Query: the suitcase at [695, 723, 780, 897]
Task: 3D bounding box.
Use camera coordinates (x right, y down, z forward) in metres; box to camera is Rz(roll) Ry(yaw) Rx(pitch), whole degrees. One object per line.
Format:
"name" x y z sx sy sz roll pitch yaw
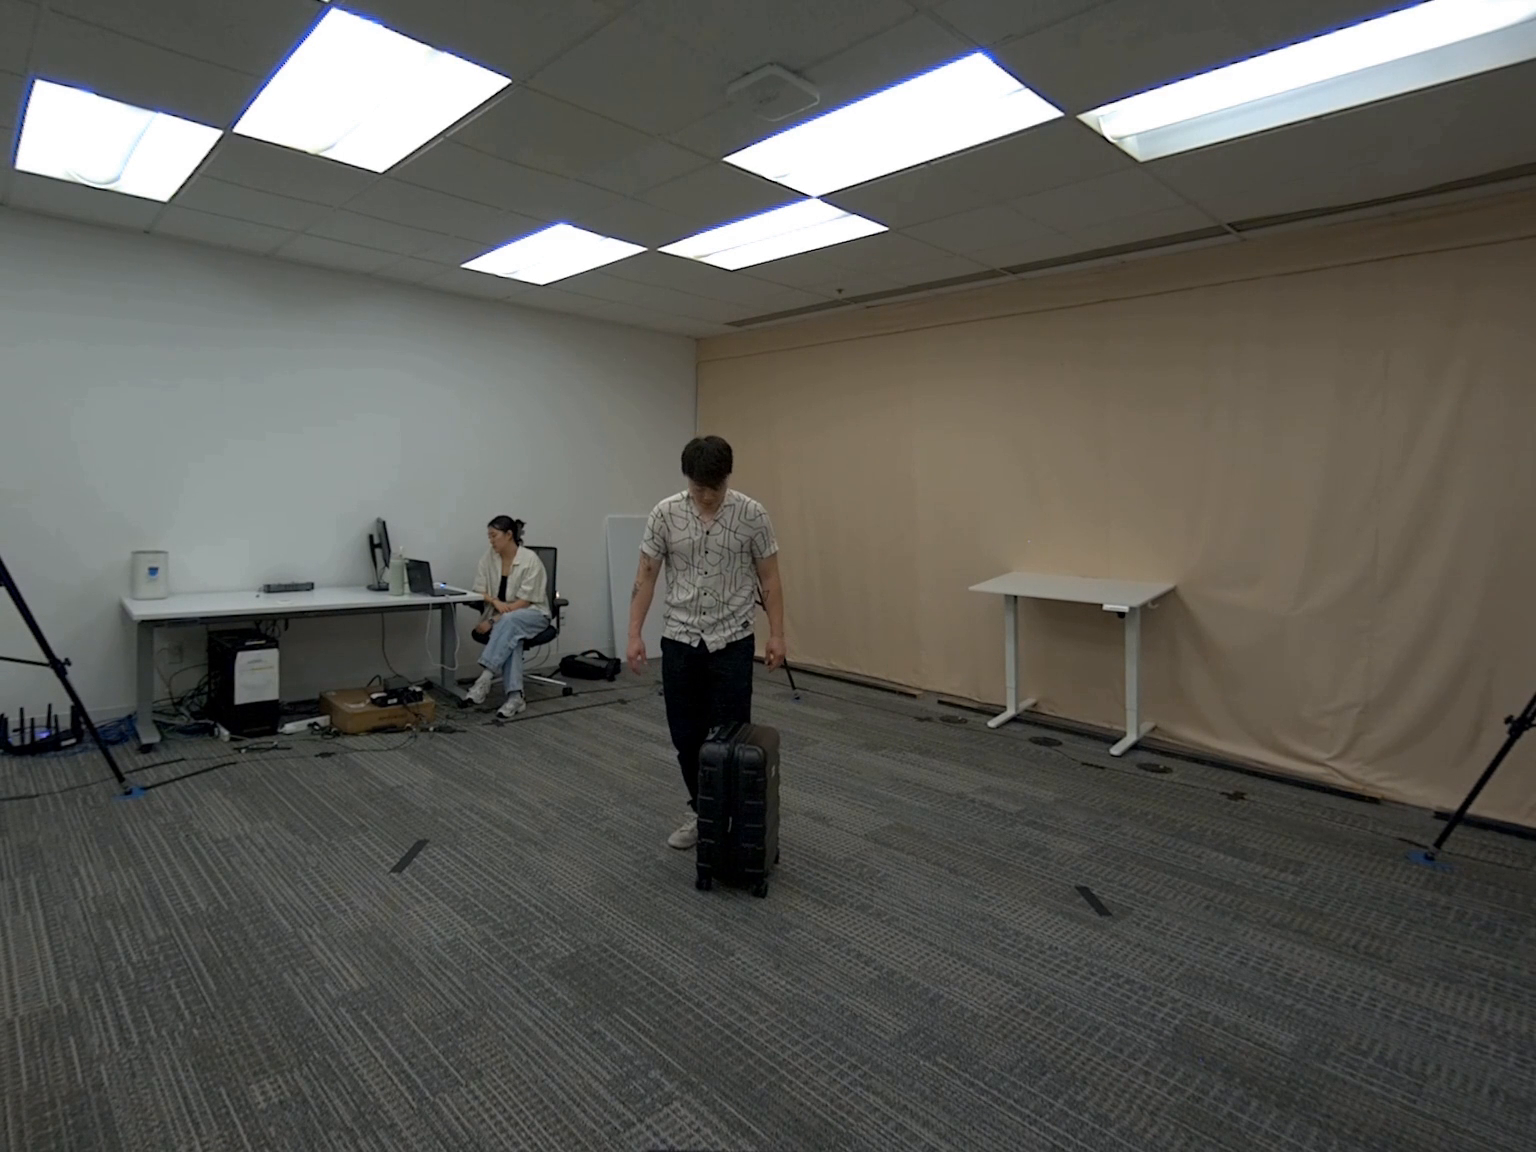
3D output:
"suitcase" -0.105 0.832 3.076 0.250 0.548 0.373 1 4 10
